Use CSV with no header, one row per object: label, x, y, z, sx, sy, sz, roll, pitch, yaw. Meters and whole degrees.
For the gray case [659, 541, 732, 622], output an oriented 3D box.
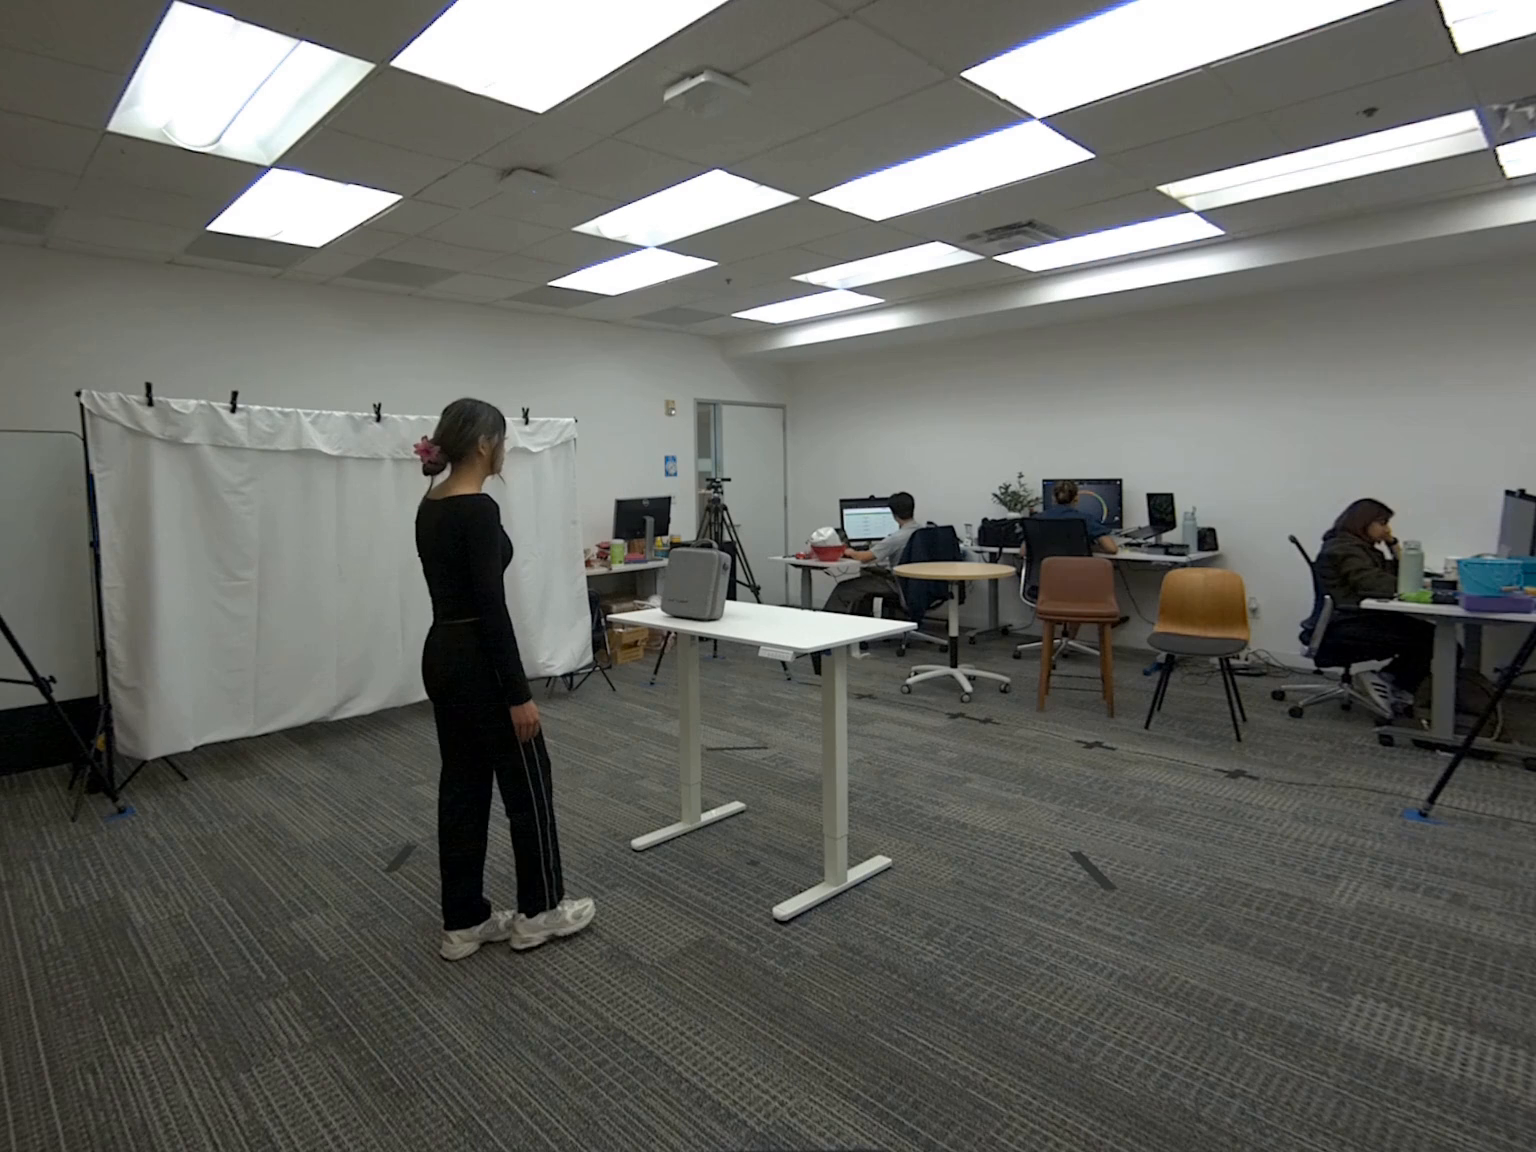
gray case,-0.268,0.026,3.172,0.265,0.261,0.101,4,-6,43
